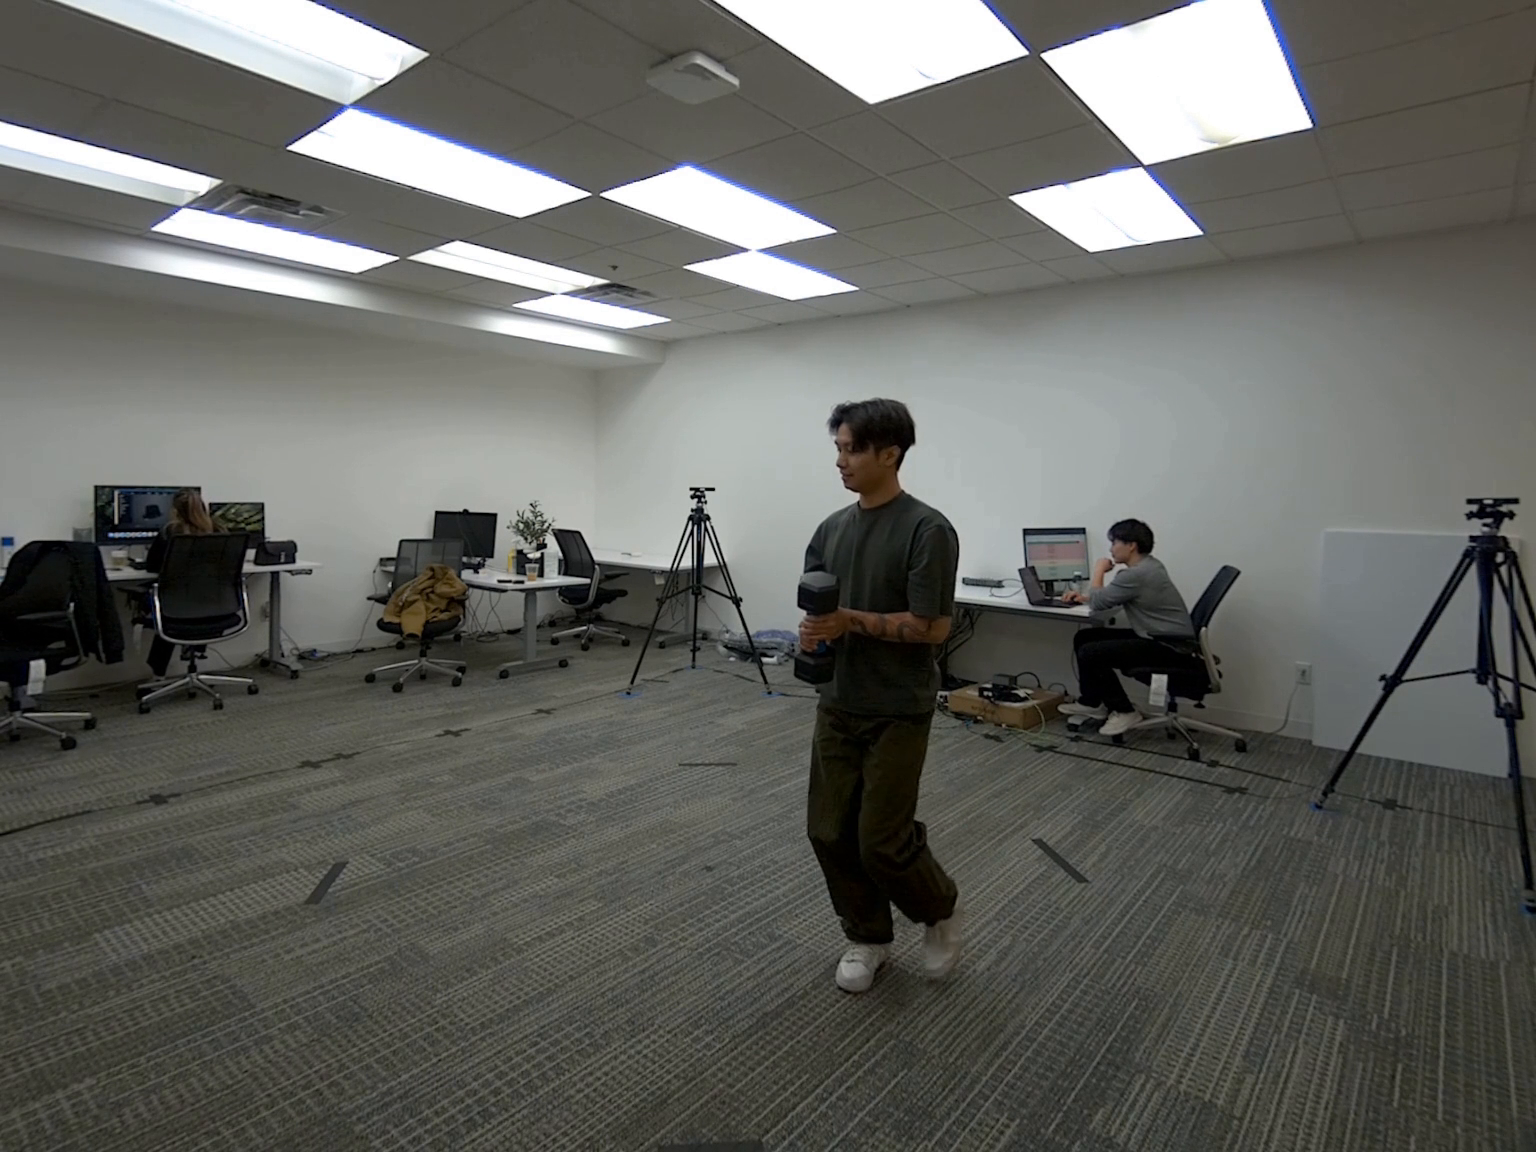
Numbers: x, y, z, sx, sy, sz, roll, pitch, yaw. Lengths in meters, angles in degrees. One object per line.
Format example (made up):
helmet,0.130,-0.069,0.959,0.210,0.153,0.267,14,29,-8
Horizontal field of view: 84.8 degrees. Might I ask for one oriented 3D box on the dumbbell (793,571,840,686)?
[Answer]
dumbbell,0.125,0.140,2.278,0.109,0.288,0.124,5,22,5
